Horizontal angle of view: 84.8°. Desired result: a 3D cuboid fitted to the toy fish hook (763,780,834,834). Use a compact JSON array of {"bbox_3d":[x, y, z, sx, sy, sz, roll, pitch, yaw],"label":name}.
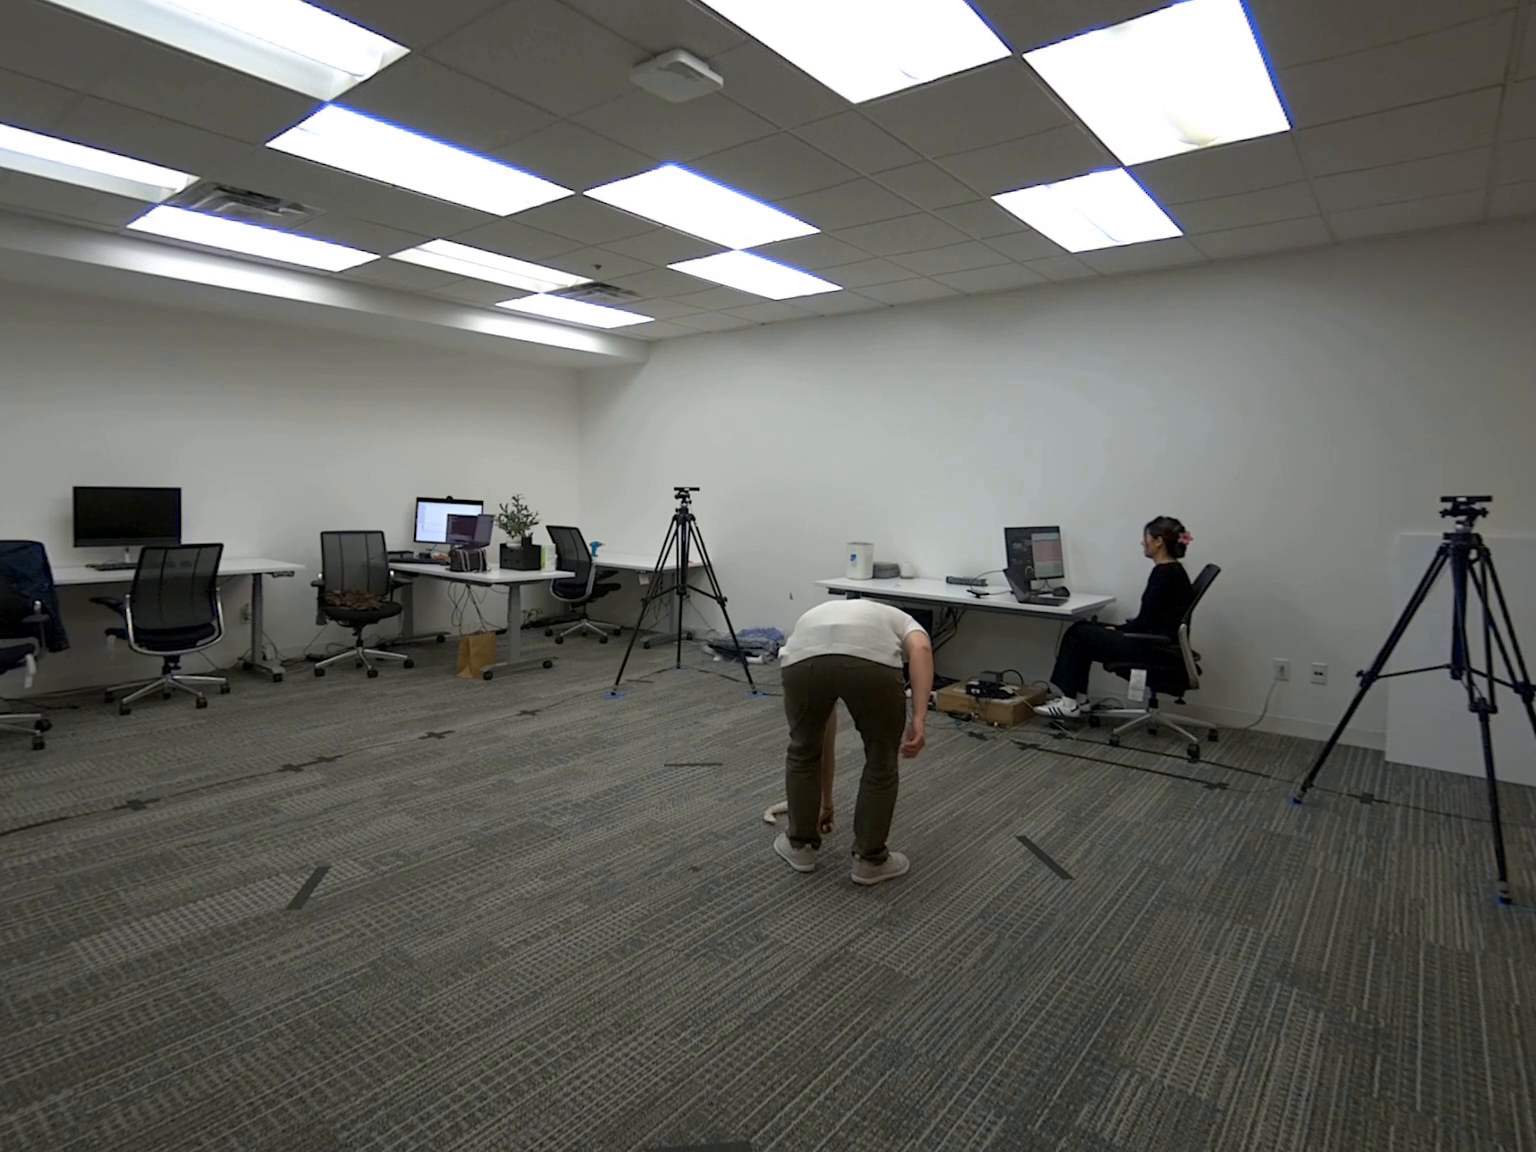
[{"bbox_3d":[0.115,0.983,3.462,0.222,0.048,0.511,-16,1,-15],"label":"toy fish hook"}]
